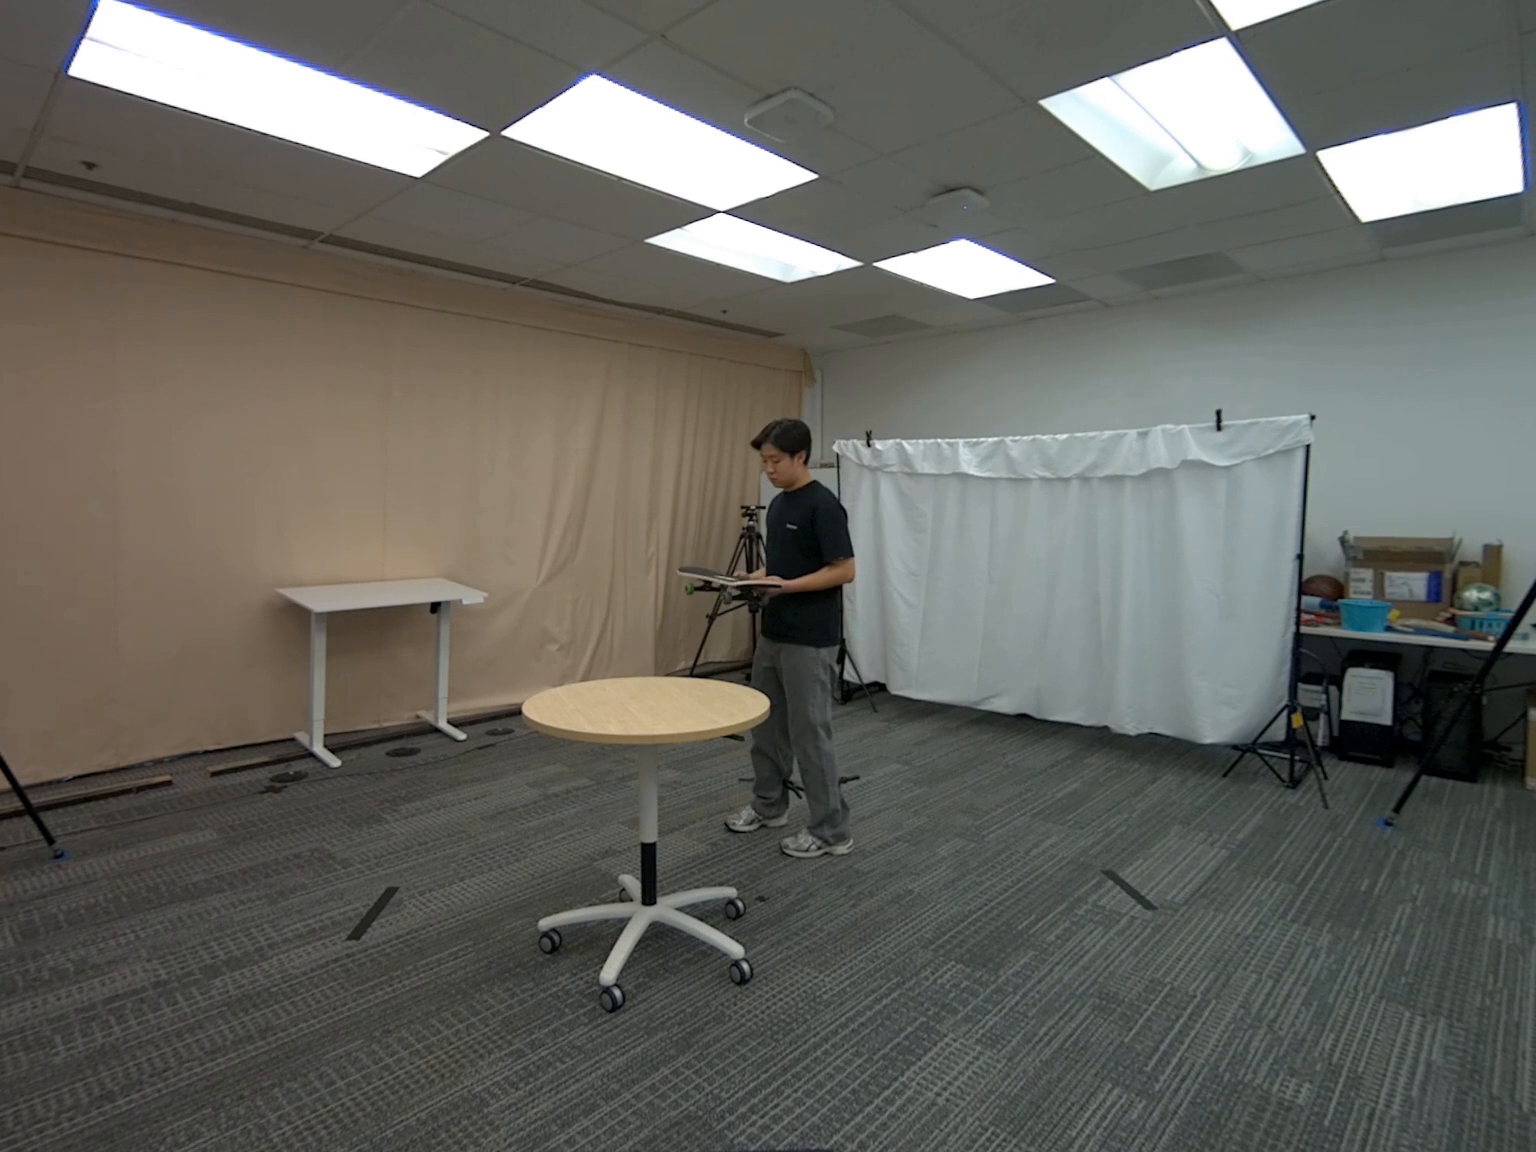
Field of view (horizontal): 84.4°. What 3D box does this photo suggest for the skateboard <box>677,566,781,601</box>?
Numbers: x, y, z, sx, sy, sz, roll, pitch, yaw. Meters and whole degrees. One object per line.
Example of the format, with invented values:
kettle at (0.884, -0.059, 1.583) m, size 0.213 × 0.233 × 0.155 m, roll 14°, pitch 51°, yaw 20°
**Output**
skateboard at (-0.153, 0.043, 3.425) m, size 0.188 × 0.110 × 0.808 m, roll 1°, pitch 4°, yaw -29°
